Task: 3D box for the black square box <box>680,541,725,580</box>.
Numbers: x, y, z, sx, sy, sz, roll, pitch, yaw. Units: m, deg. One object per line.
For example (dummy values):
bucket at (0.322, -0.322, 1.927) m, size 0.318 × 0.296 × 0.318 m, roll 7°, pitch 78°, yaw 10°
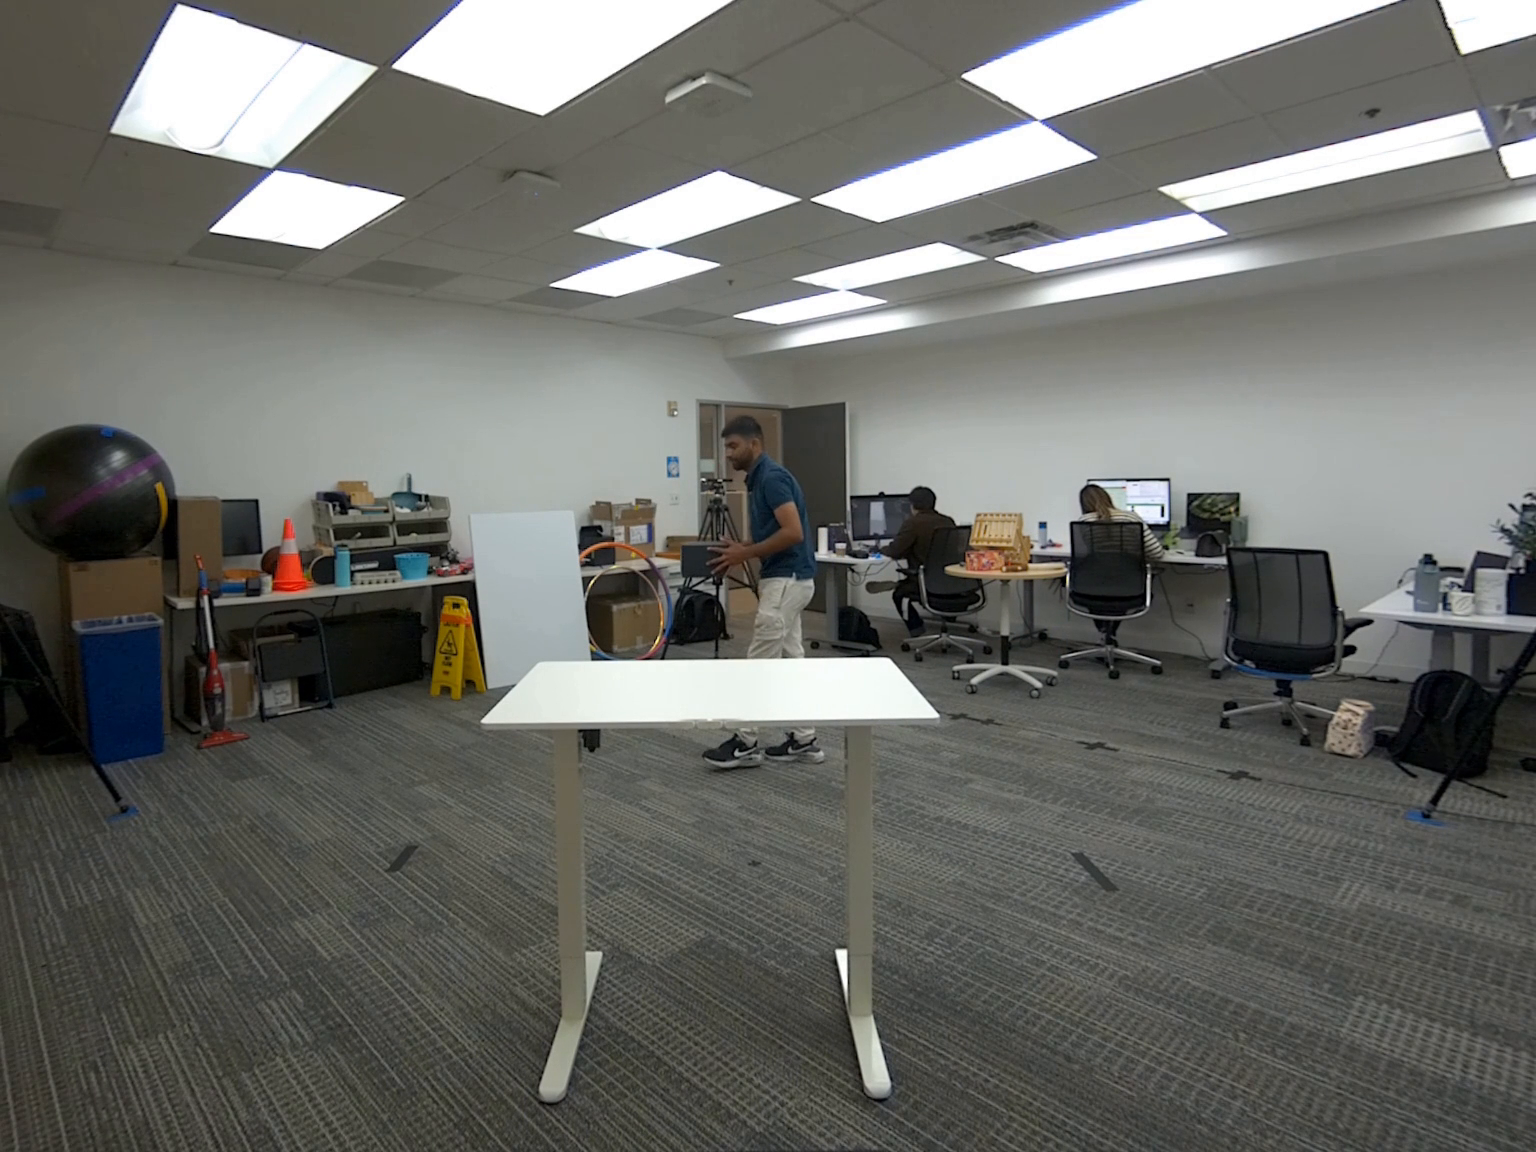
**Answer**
black square box at (-0.308, -0.080, 4.162) m, size 0.226 × 0.155 × 0.219 m, roll 0°, pitch 5°, yaw -7°
